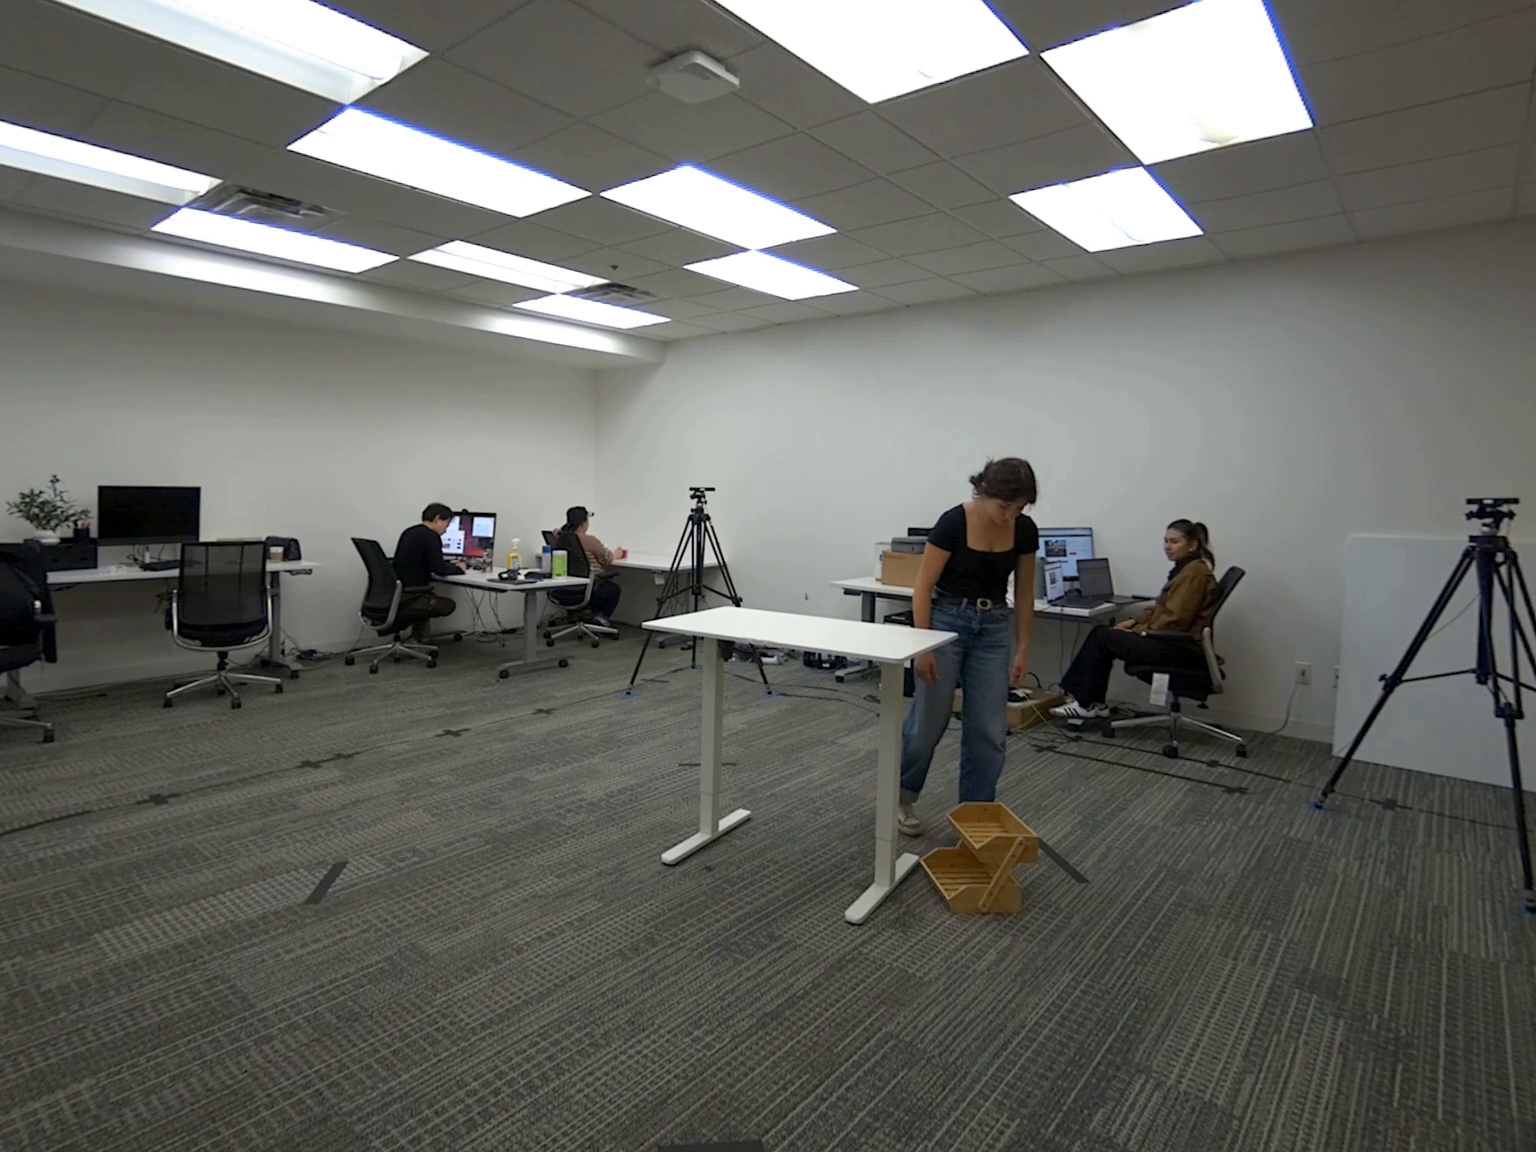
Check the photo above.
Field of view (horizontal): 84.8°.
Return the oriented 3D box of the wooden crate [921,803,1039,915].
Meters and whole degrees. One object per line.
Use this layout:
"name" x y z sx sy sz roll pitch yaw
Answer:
"wooden crate" 0.702 0.958 2.977 0.300 0.272 0.328 2 4 -7
